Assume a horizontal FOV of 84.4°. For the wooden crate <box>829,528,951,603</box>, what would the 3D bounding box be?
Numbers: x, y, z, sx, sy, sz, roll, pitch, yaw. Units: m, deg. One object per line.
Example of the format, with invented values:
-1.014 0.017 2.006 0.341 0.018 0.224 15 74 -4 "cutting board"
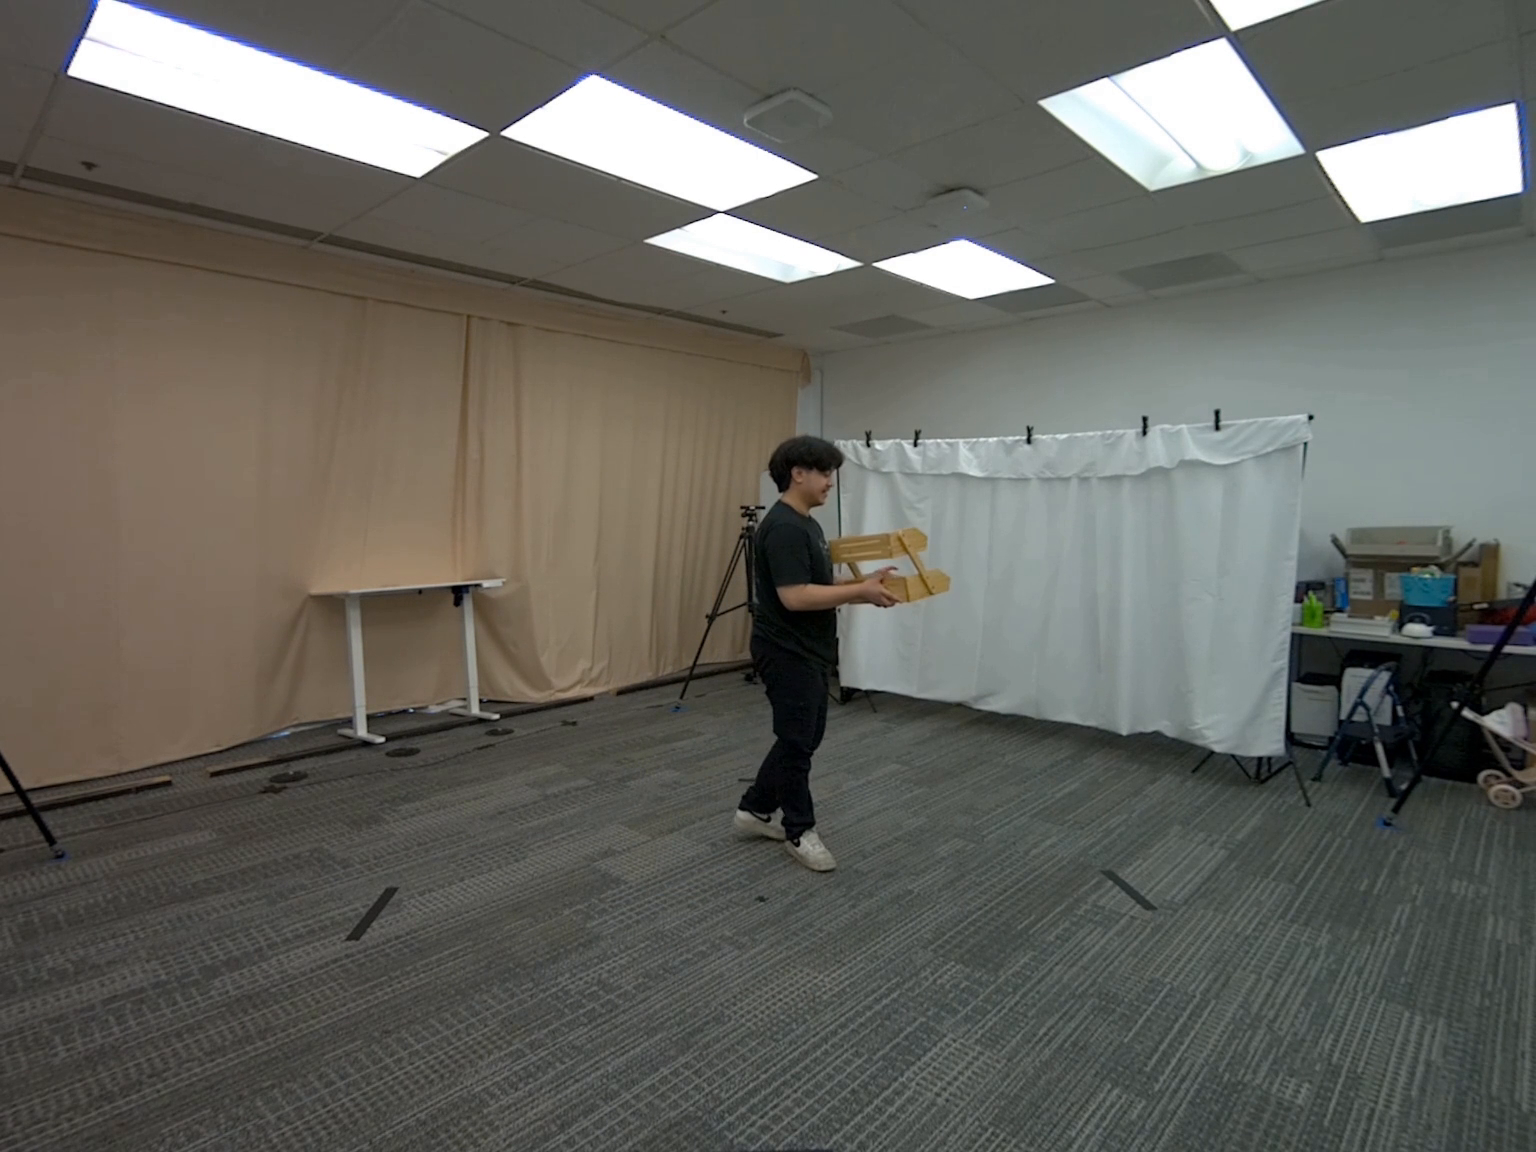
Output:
0.465 -0.046 3.173 0.294 0.273 0.334 -14 4 -40 "wooden crate"
